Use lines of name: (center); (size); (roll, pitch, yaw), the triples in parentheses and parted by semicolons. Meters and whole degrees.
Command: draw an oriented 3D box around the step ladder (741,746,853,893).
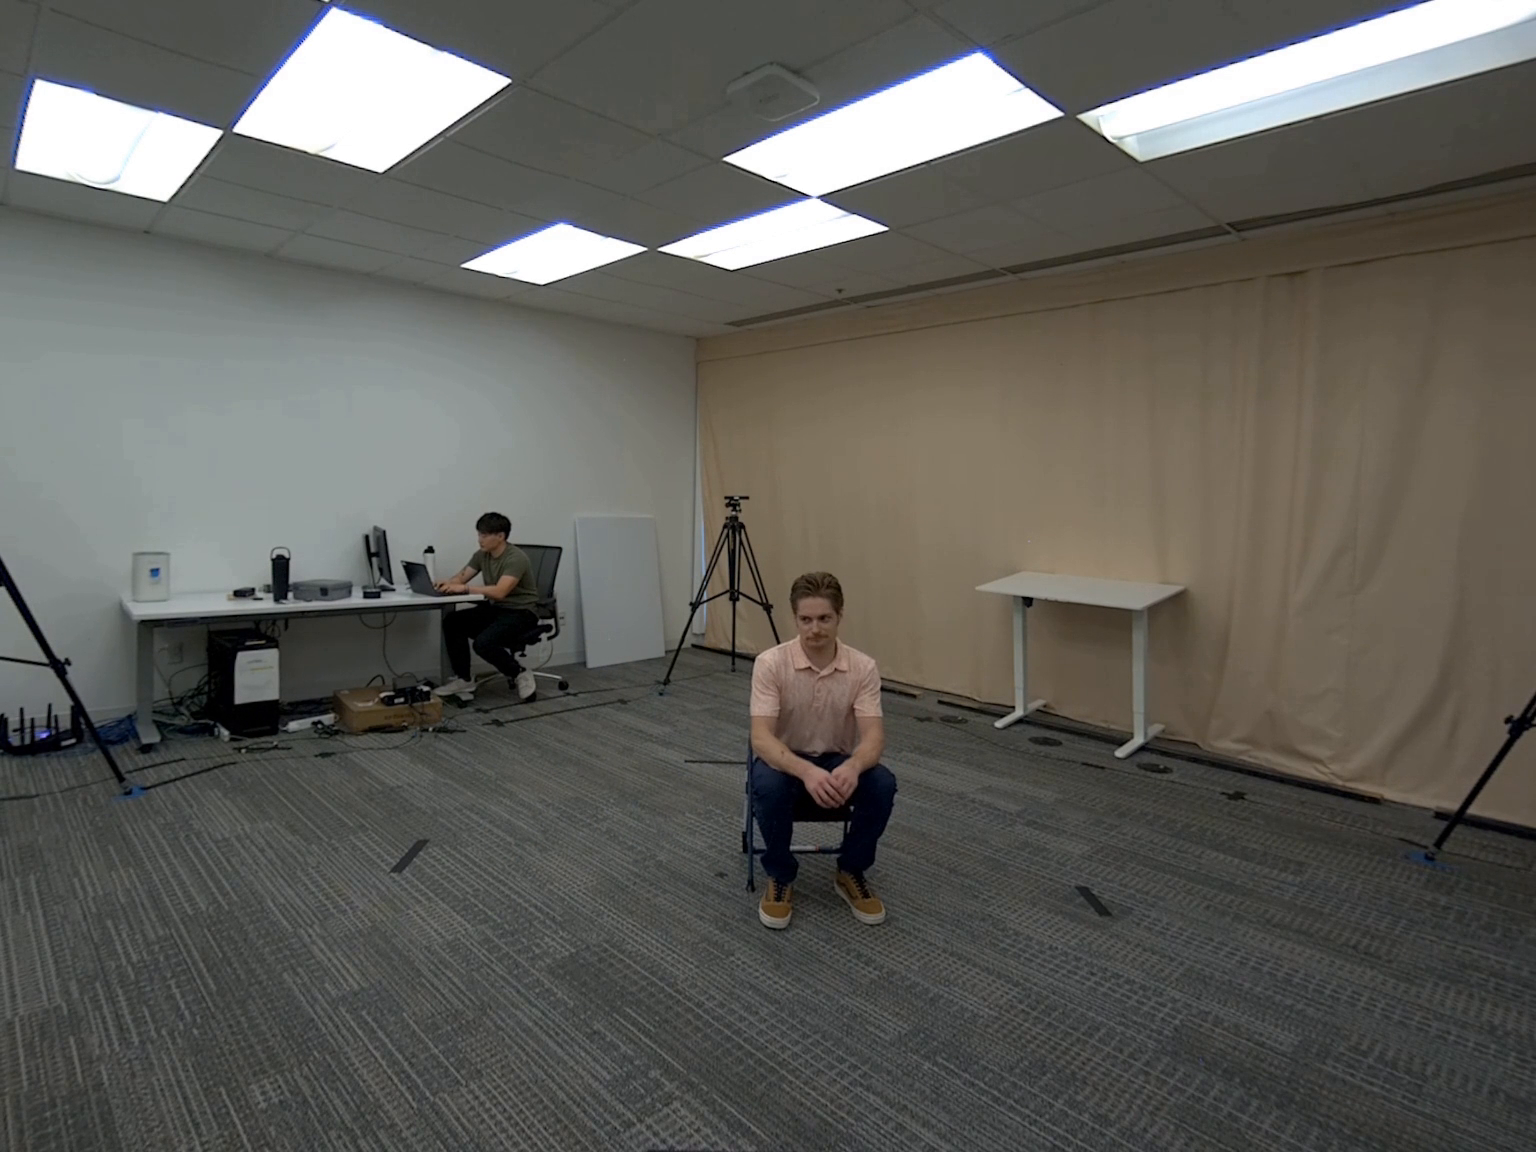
step ladder: (0.123, 0.813, 3.149); (0.429, 0.604, 0.351); (1, 4, -5)
